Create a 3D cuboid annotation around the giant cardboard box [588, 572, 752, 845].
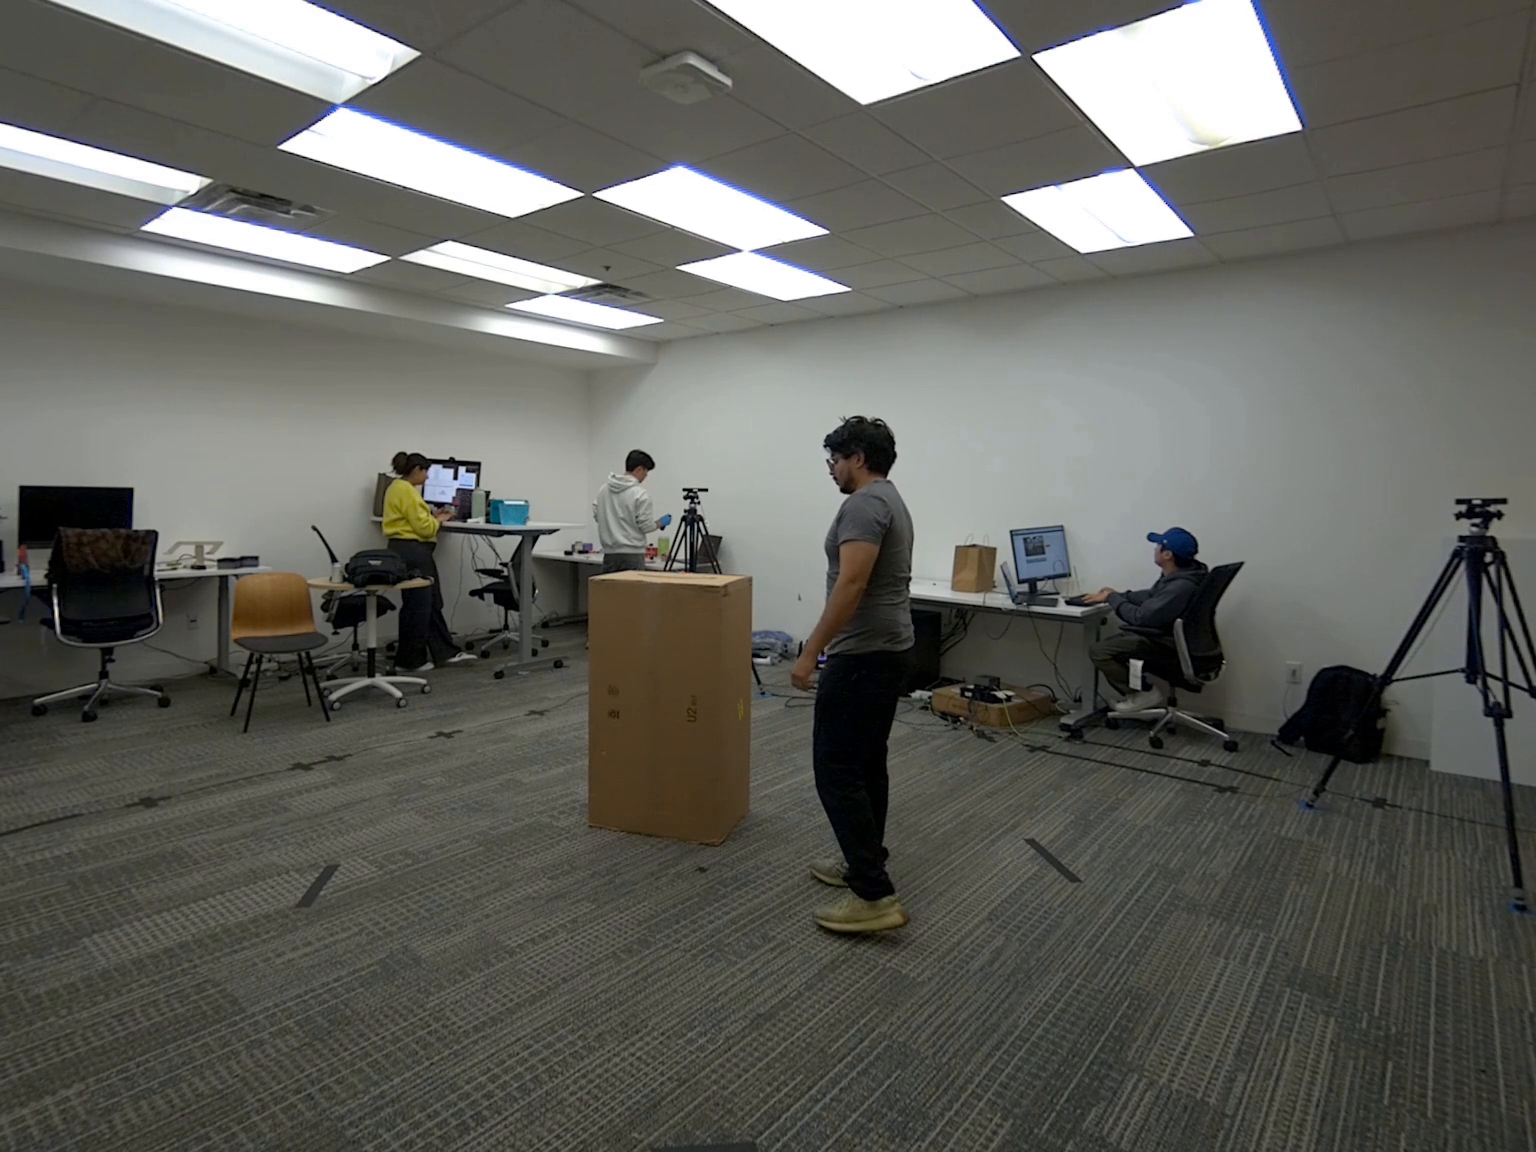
[{"bbox_3d":[-0.415,0.511,3.580,0.589,1.023,0.419,2,3,19],"label":"giant cardboard box"}]
